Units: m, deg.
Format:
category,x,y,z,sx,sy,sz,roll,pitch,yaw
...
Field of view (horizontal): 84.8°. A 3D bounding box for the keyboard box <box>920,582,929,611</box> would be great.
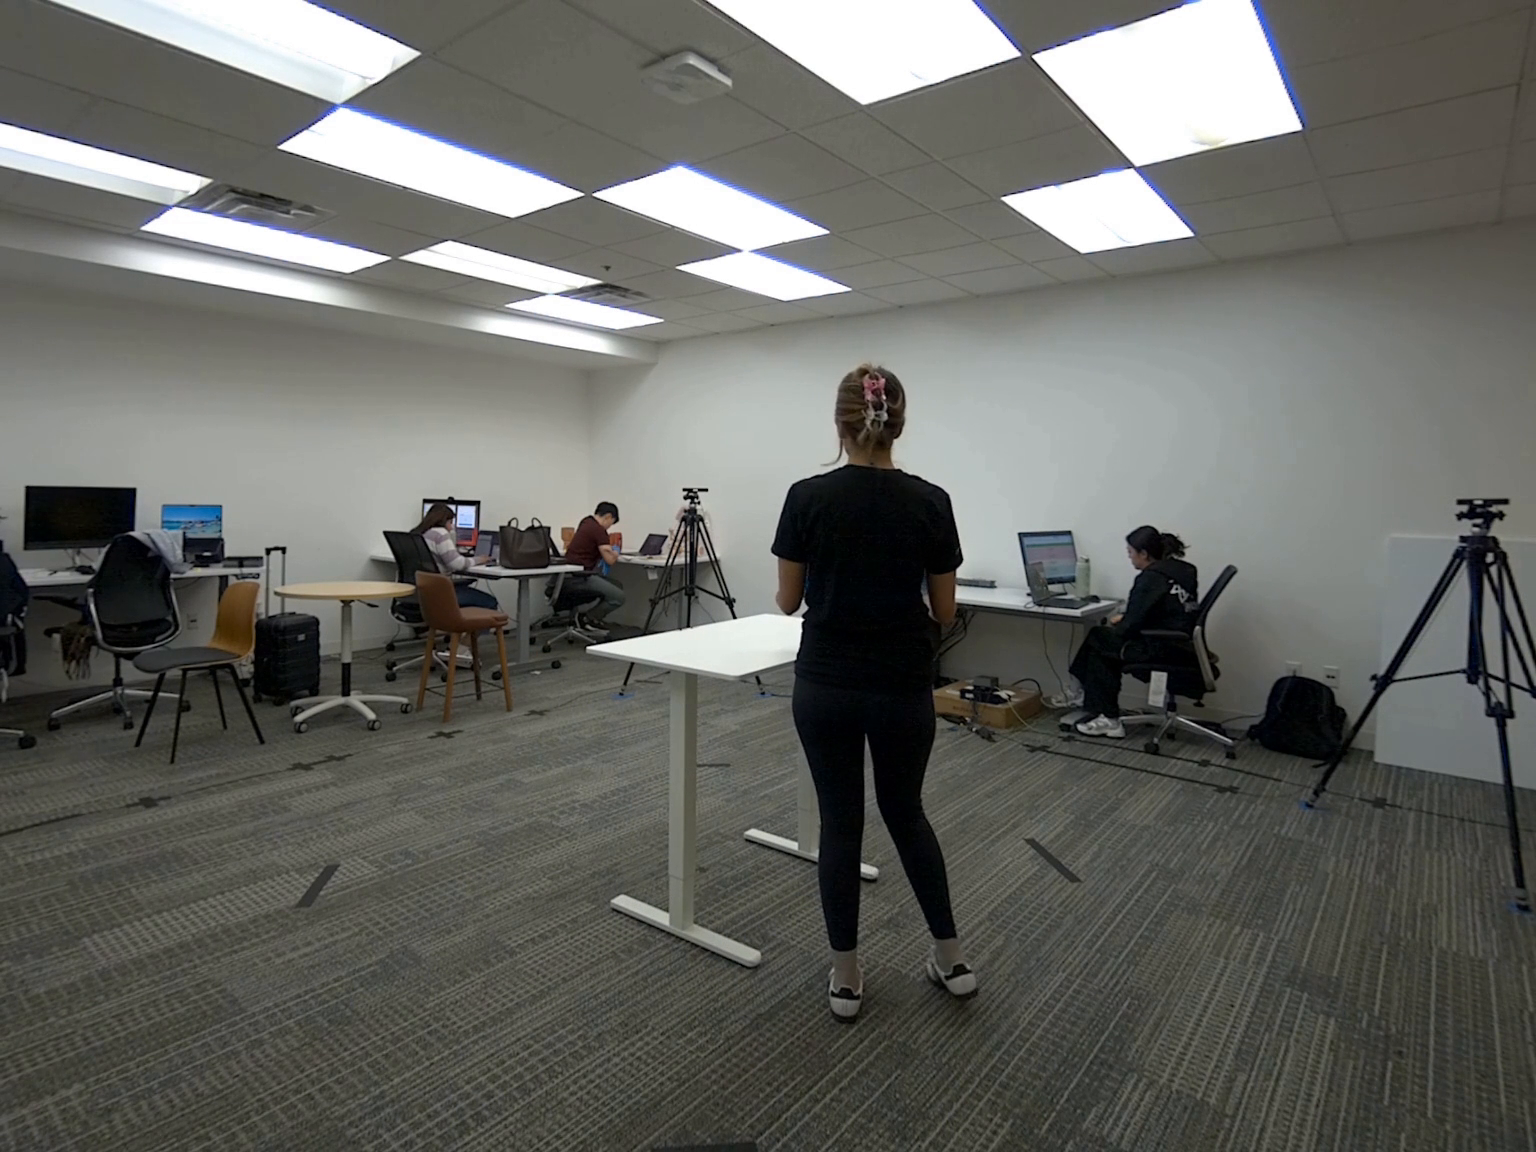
category,x,y,z,sx,sy,sz,roll,pitch,yaw
keyboard box,0.288,-0.011,2.636,0.439,0.175,0.059,2,3,4
